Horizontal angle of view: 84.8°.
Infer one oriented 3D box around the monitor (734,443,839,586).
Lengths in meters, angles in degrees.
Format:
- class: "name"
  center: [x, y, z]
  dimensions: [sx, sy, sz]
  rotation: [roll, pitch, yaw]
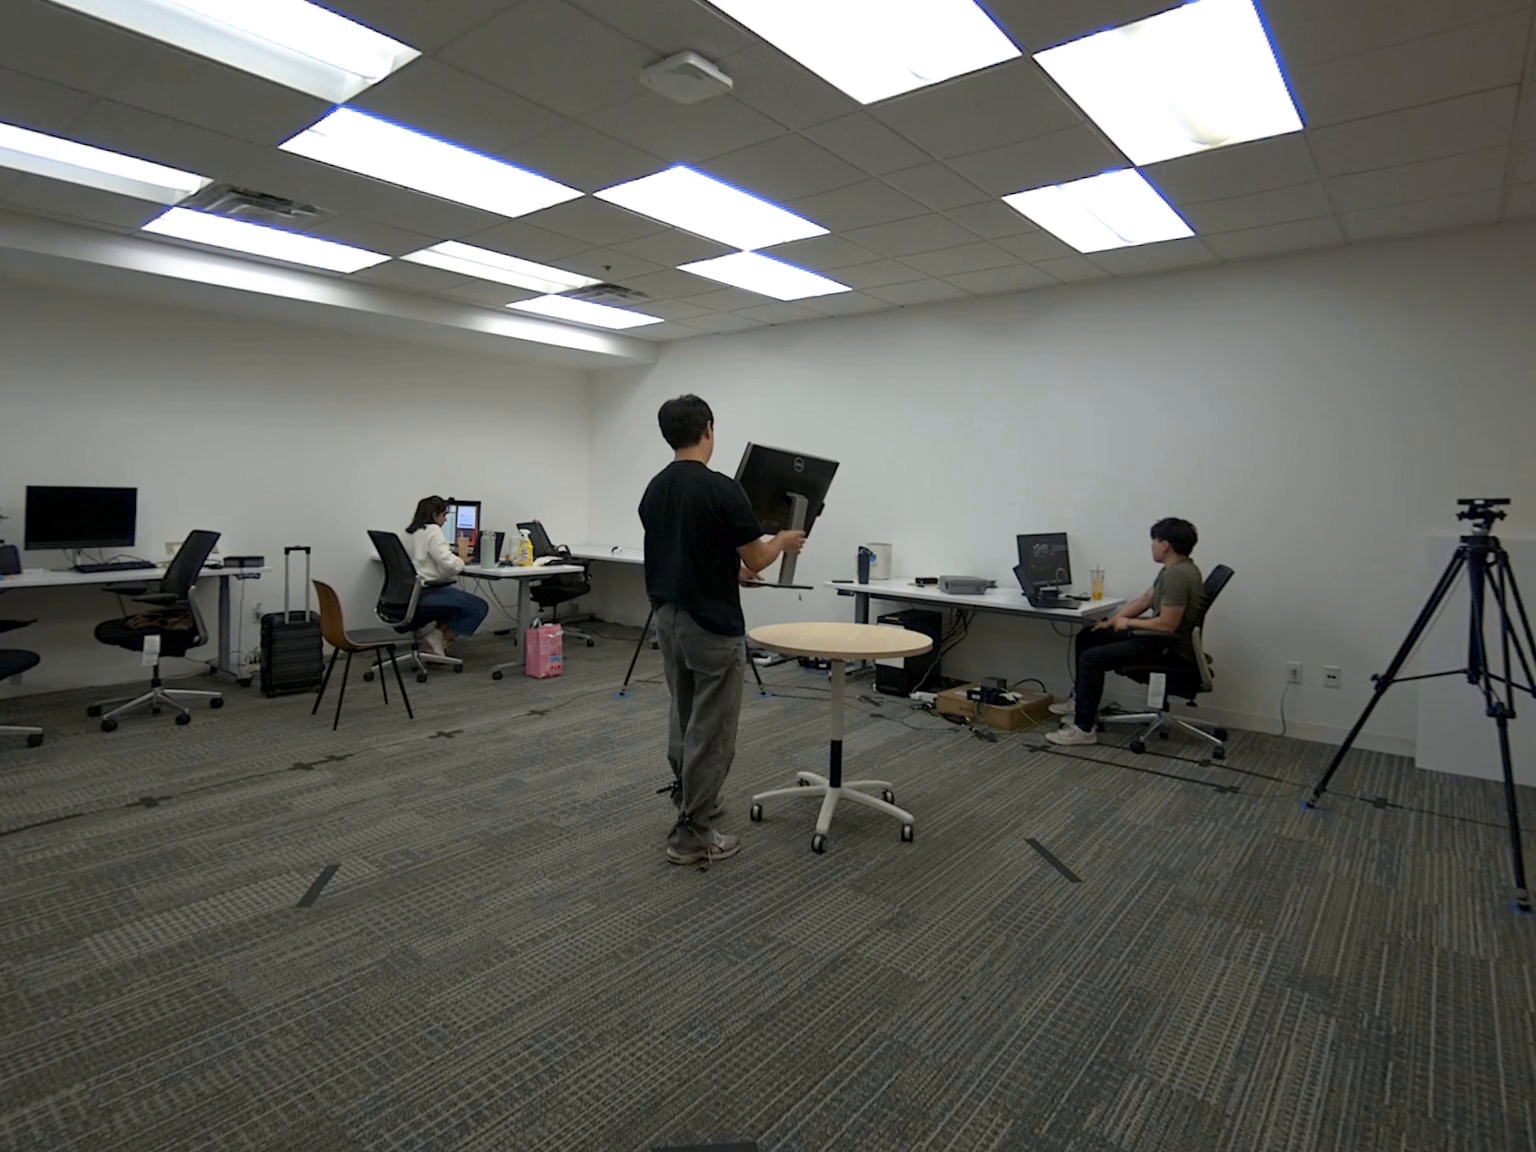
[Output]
- class: "monitor"
  center: [0.055, -0.227, 3.439]
  dimensions: [0.542, 0.565, 0.230]
  rotation: [6, 2, -45]
